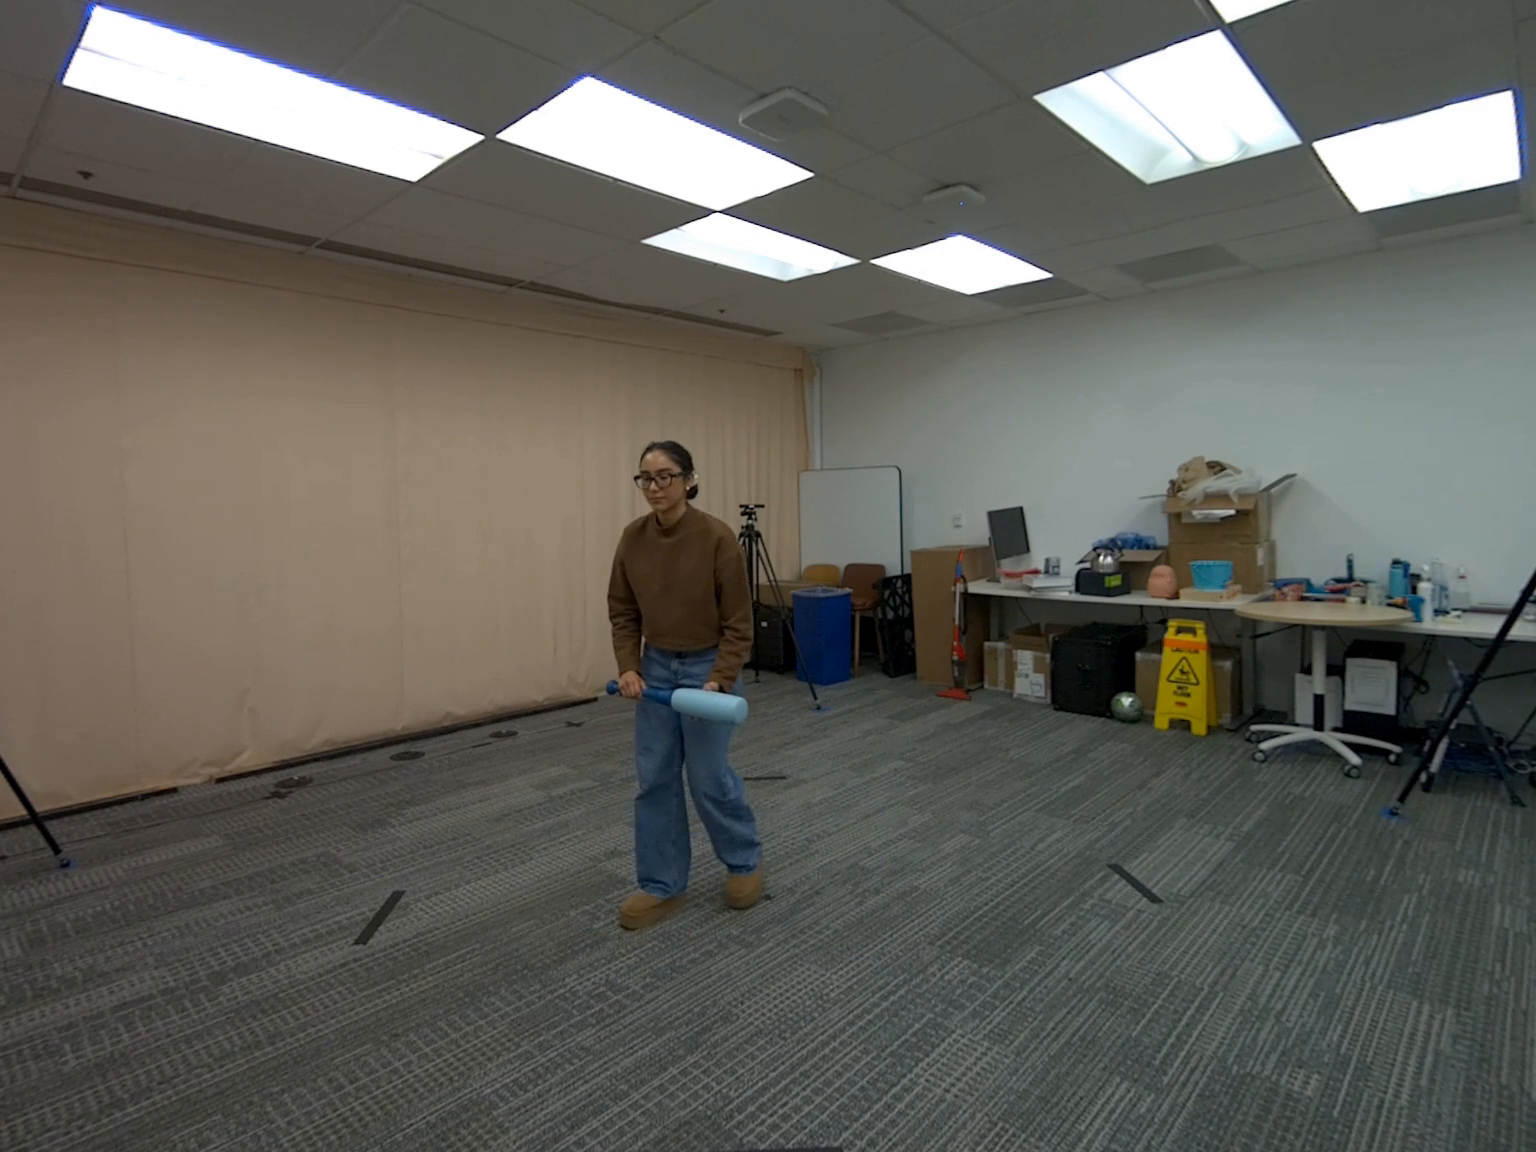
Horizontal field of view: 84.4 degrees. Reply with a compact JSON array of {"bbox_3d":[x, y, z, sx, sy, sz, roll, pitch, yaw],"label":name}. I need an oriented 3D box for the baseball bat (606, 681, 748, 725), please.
[{"bbox_3d":[-0.298,0.392,2.688,0.560,0.089,0.086,3,6,36],"label":"baseball bat"}]
